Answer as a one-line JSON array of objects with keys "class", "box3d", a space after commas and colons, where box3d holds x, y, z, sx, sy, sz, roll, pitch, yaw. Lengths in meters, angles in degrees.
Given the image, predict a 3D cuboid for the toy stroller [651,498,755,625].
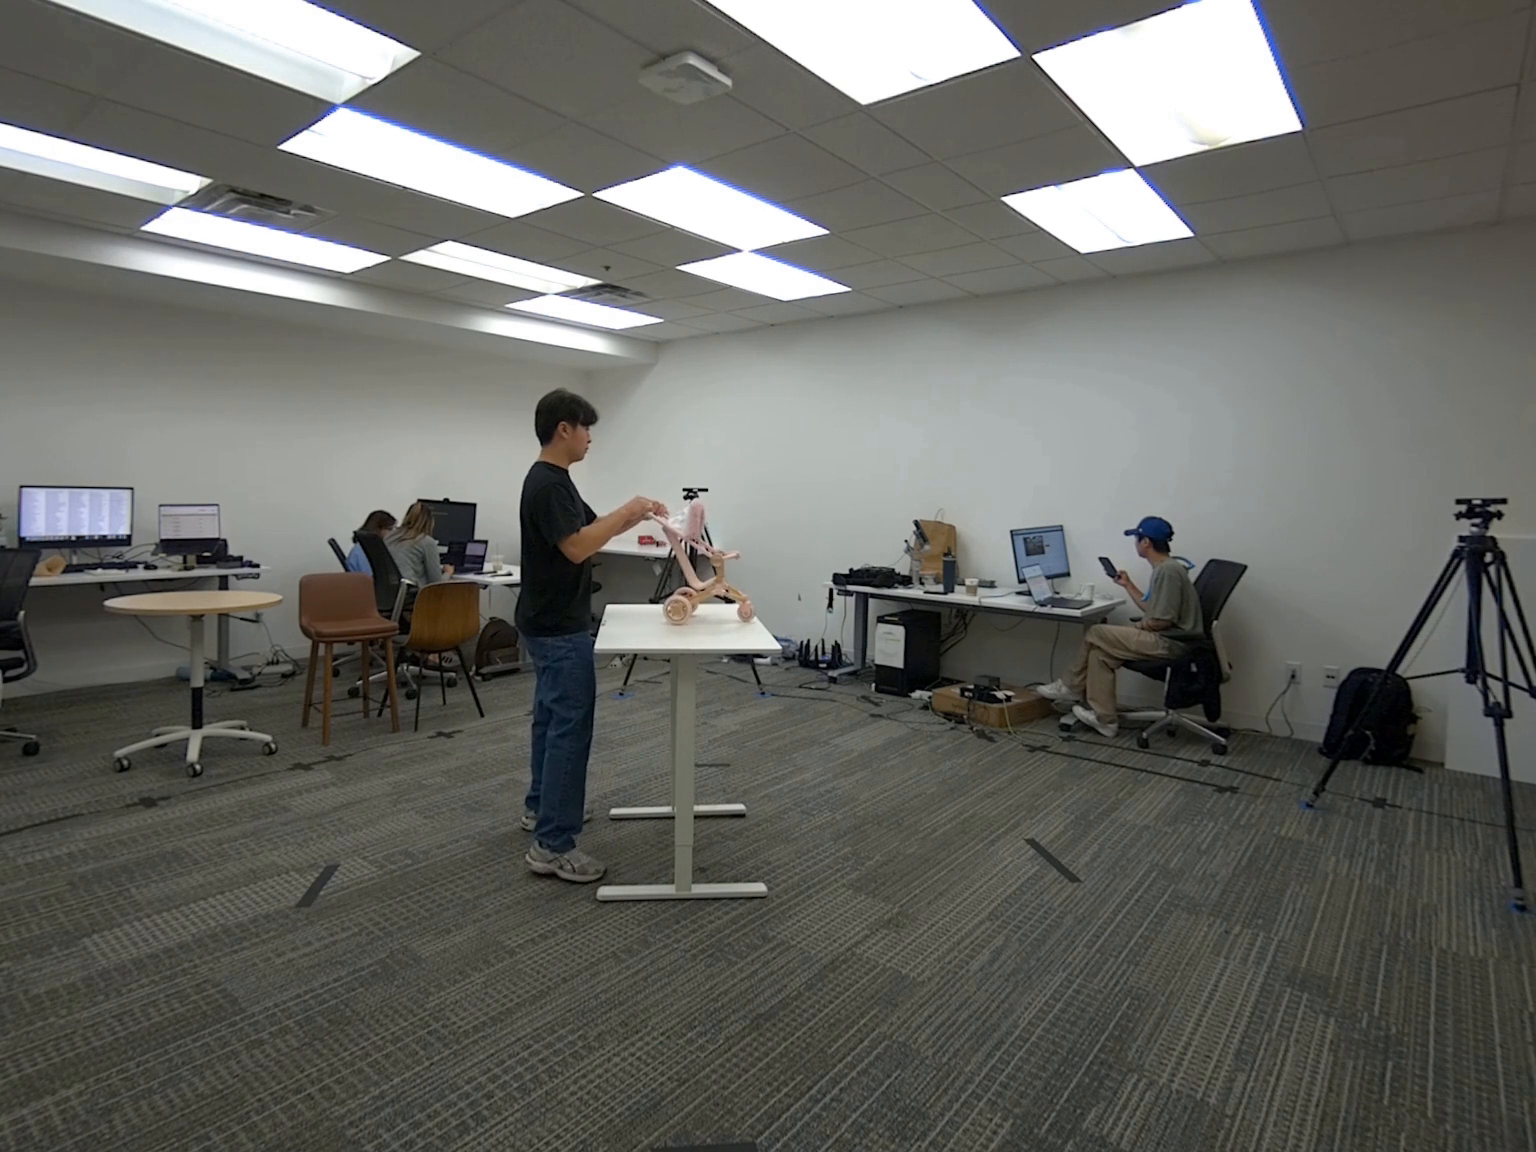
[{"class": "toy stroller", "box3d": [-0.271, -0.055, 3.253, 0.344, 0.534, 0.280, -13, 2, 9]}]
